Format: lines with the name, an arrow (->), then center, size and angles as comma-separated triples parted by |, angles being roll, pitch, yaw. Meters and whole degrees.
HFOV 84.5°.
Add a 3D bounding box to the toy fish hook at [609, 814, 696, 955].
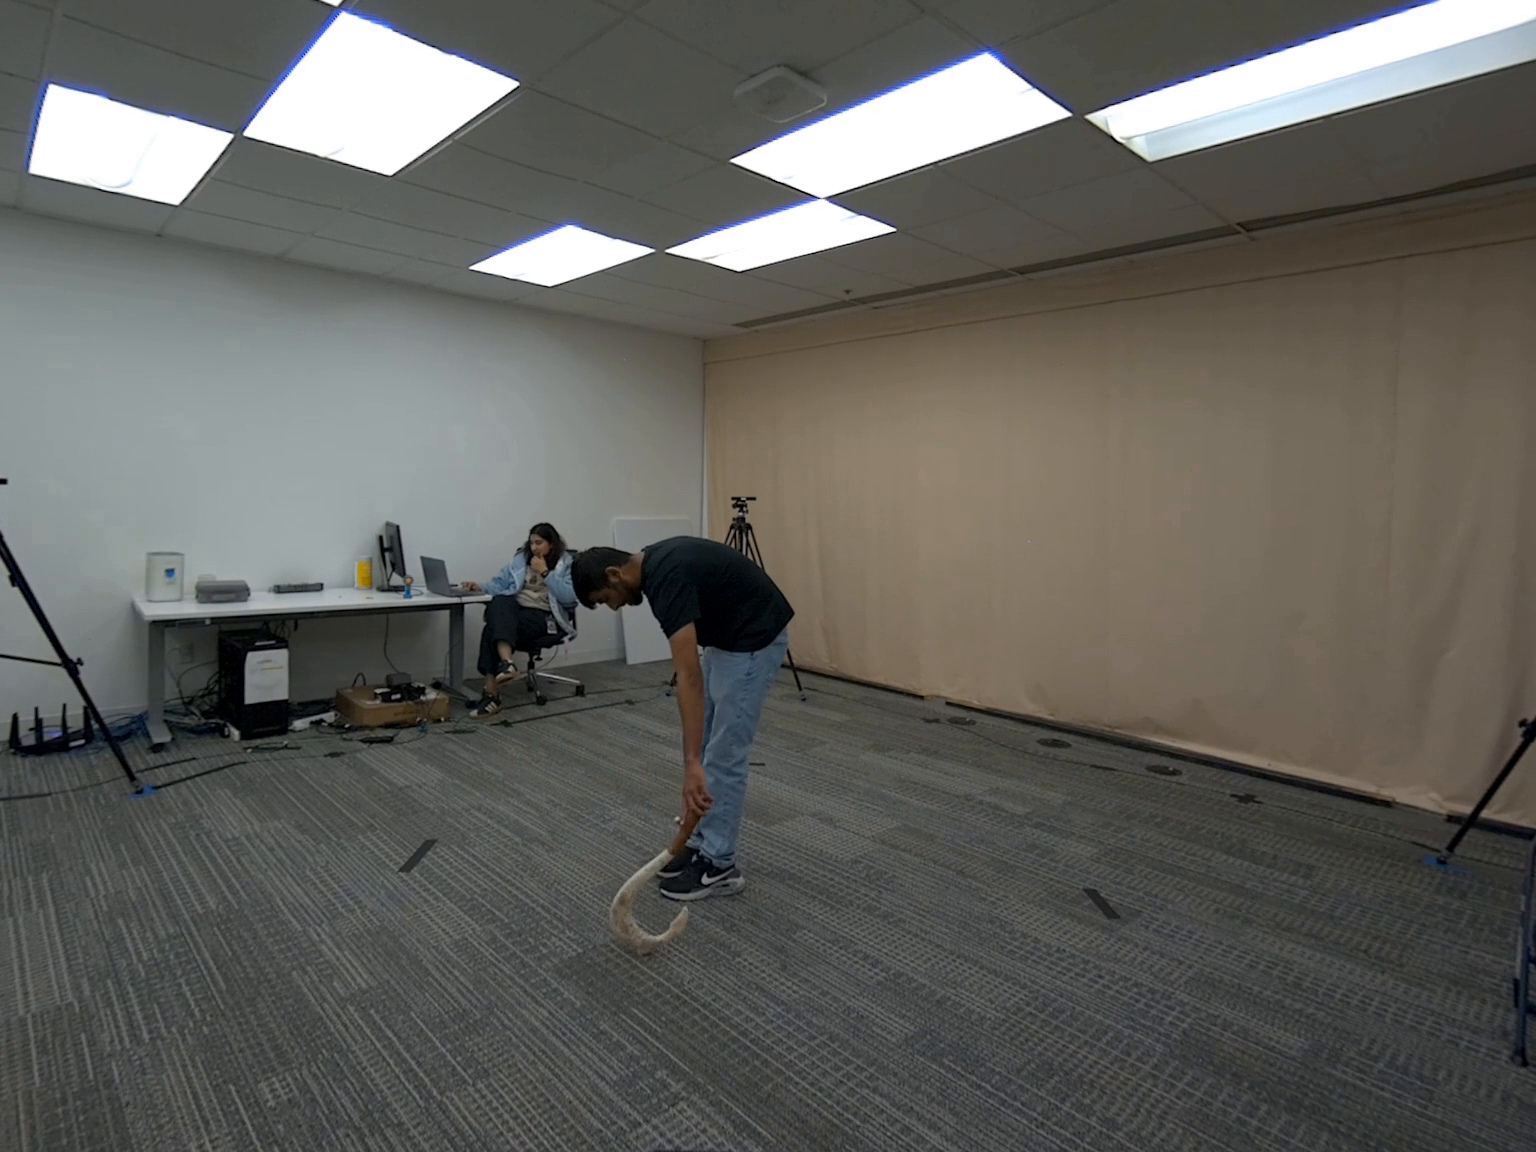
toy fish hook -> -0.295, 0.917, 2.572 | 0.225, 0.506, 0.048 | 31, 0, 2
